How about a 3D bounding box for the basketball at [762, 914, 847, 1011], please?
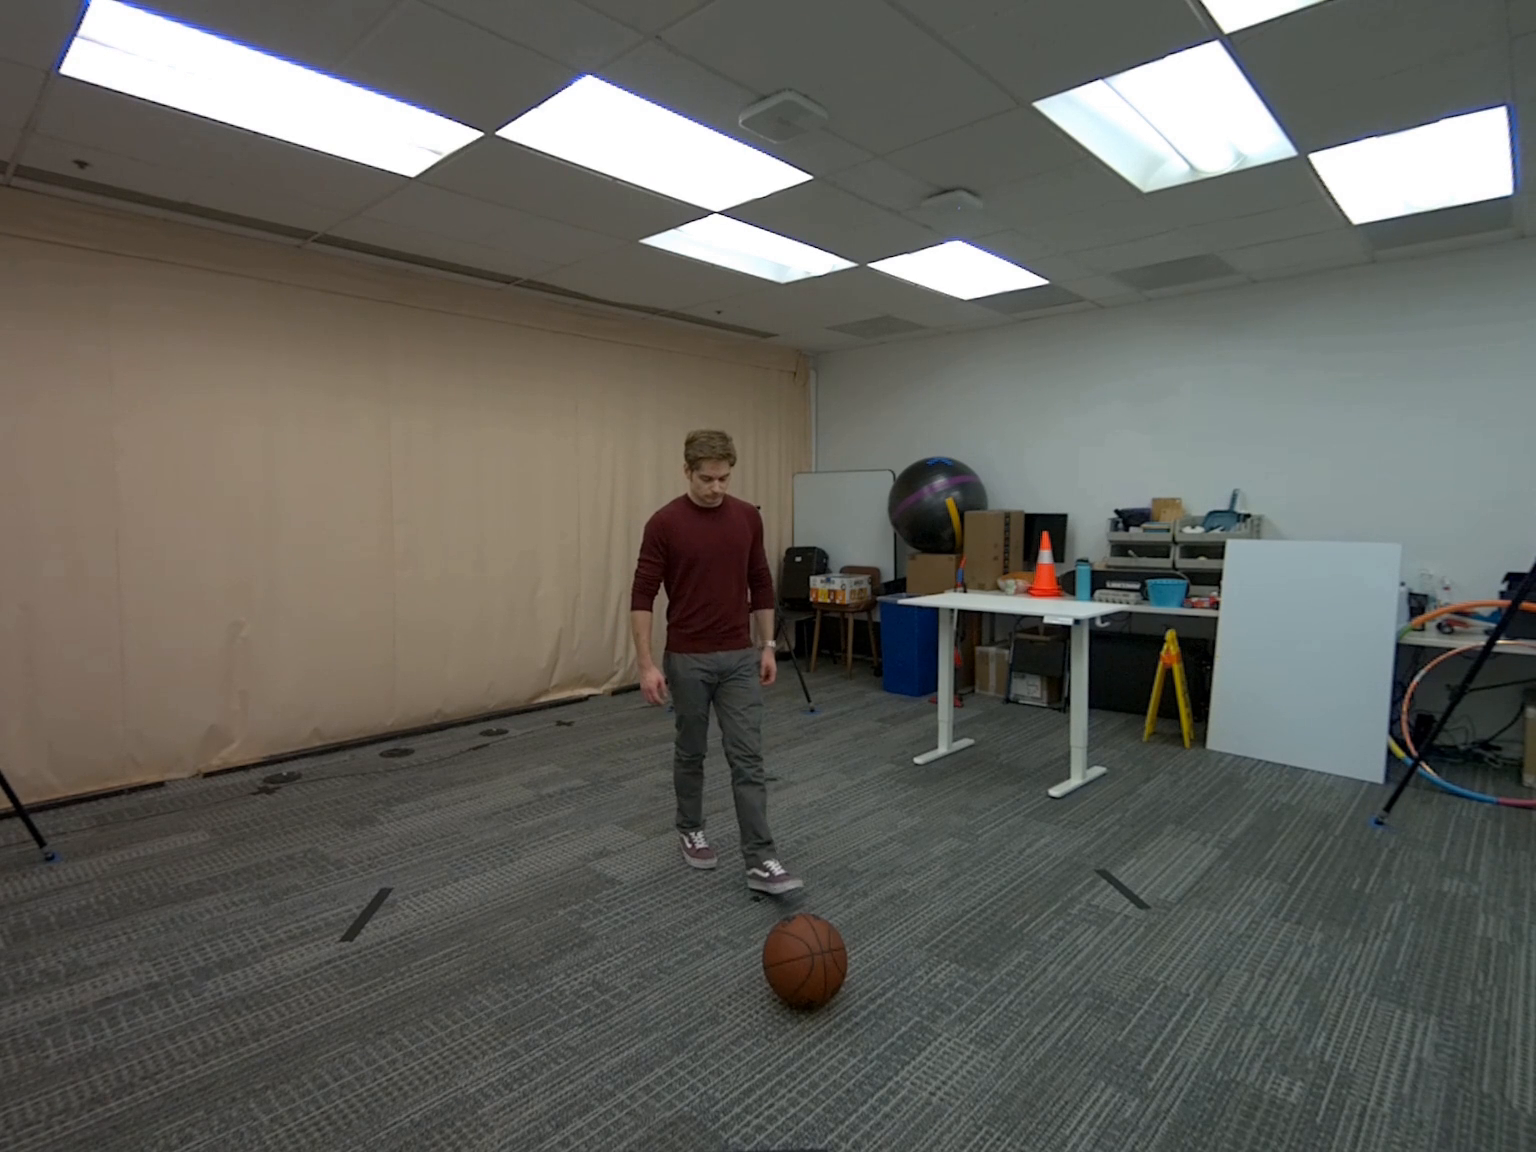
[{"bbox_3d":[0.107,1.079,2.356,0.236,0.235,0.237,0,4,-2],"label":"basketball"}]
